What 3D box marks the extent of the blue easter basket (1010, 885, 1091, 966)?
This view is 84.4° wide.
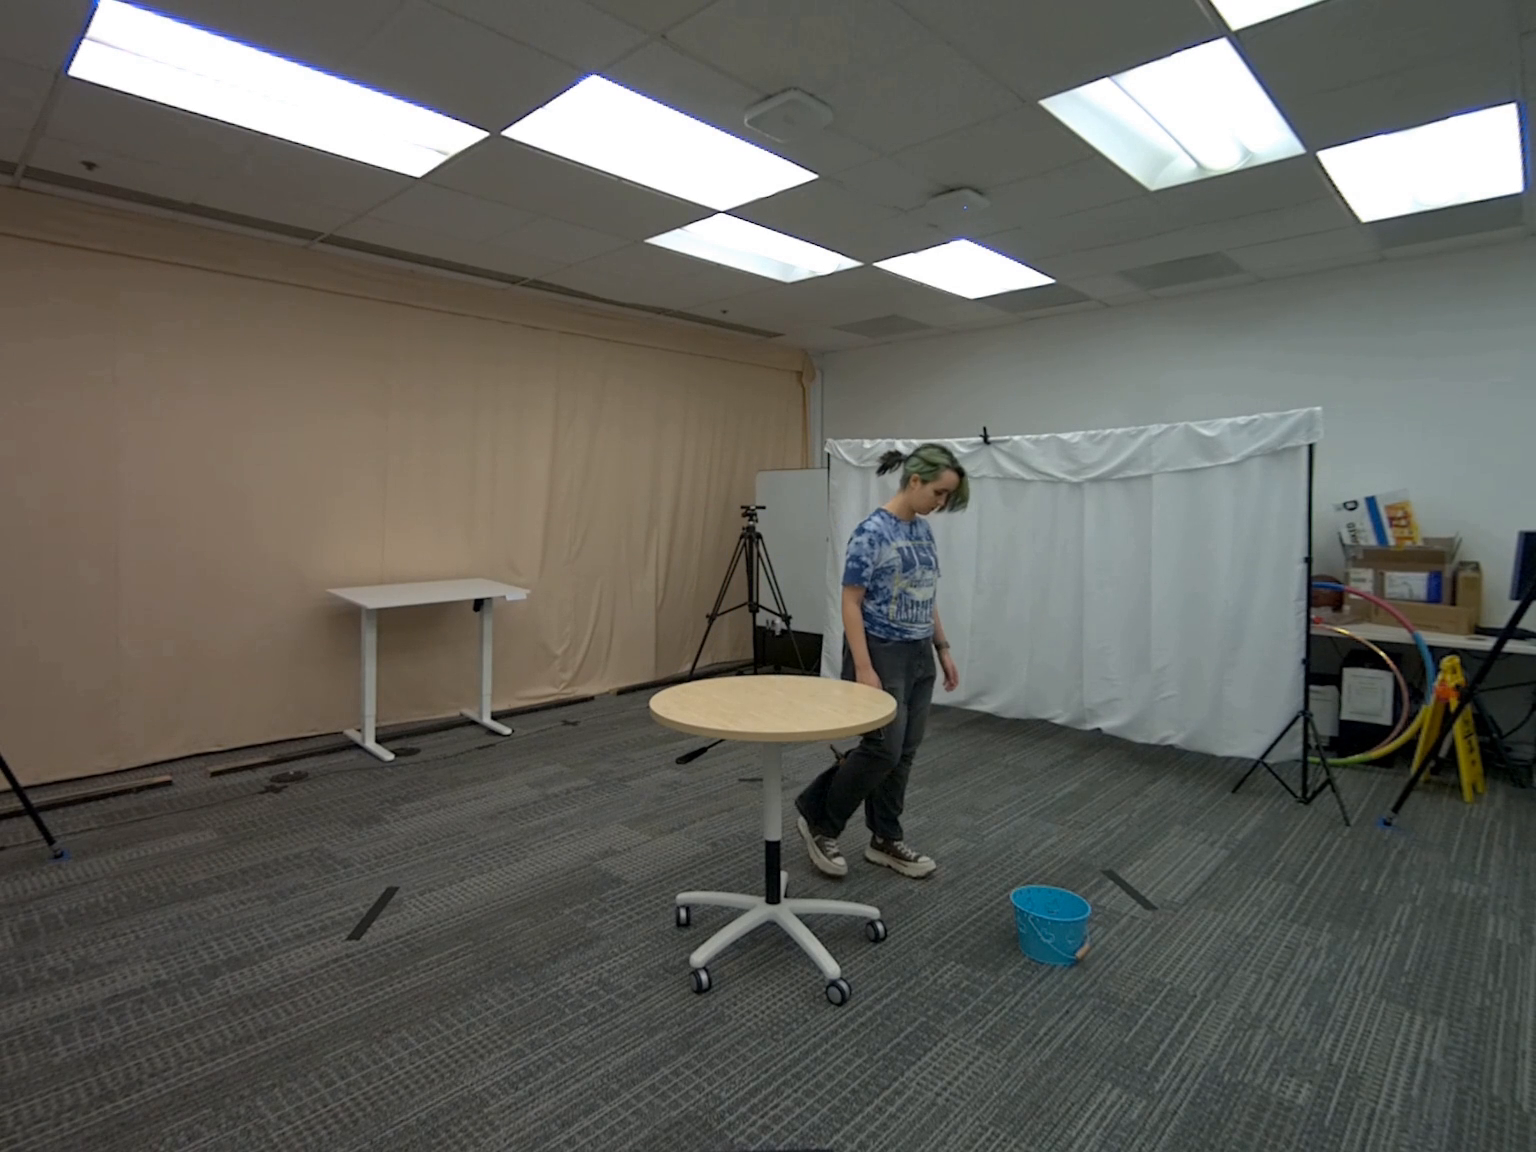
[{"bbox_3d":[0.888,1.095,2.626,0.243,0.155,0.244,0,4,-2],"label":"blue easter basket"}]
